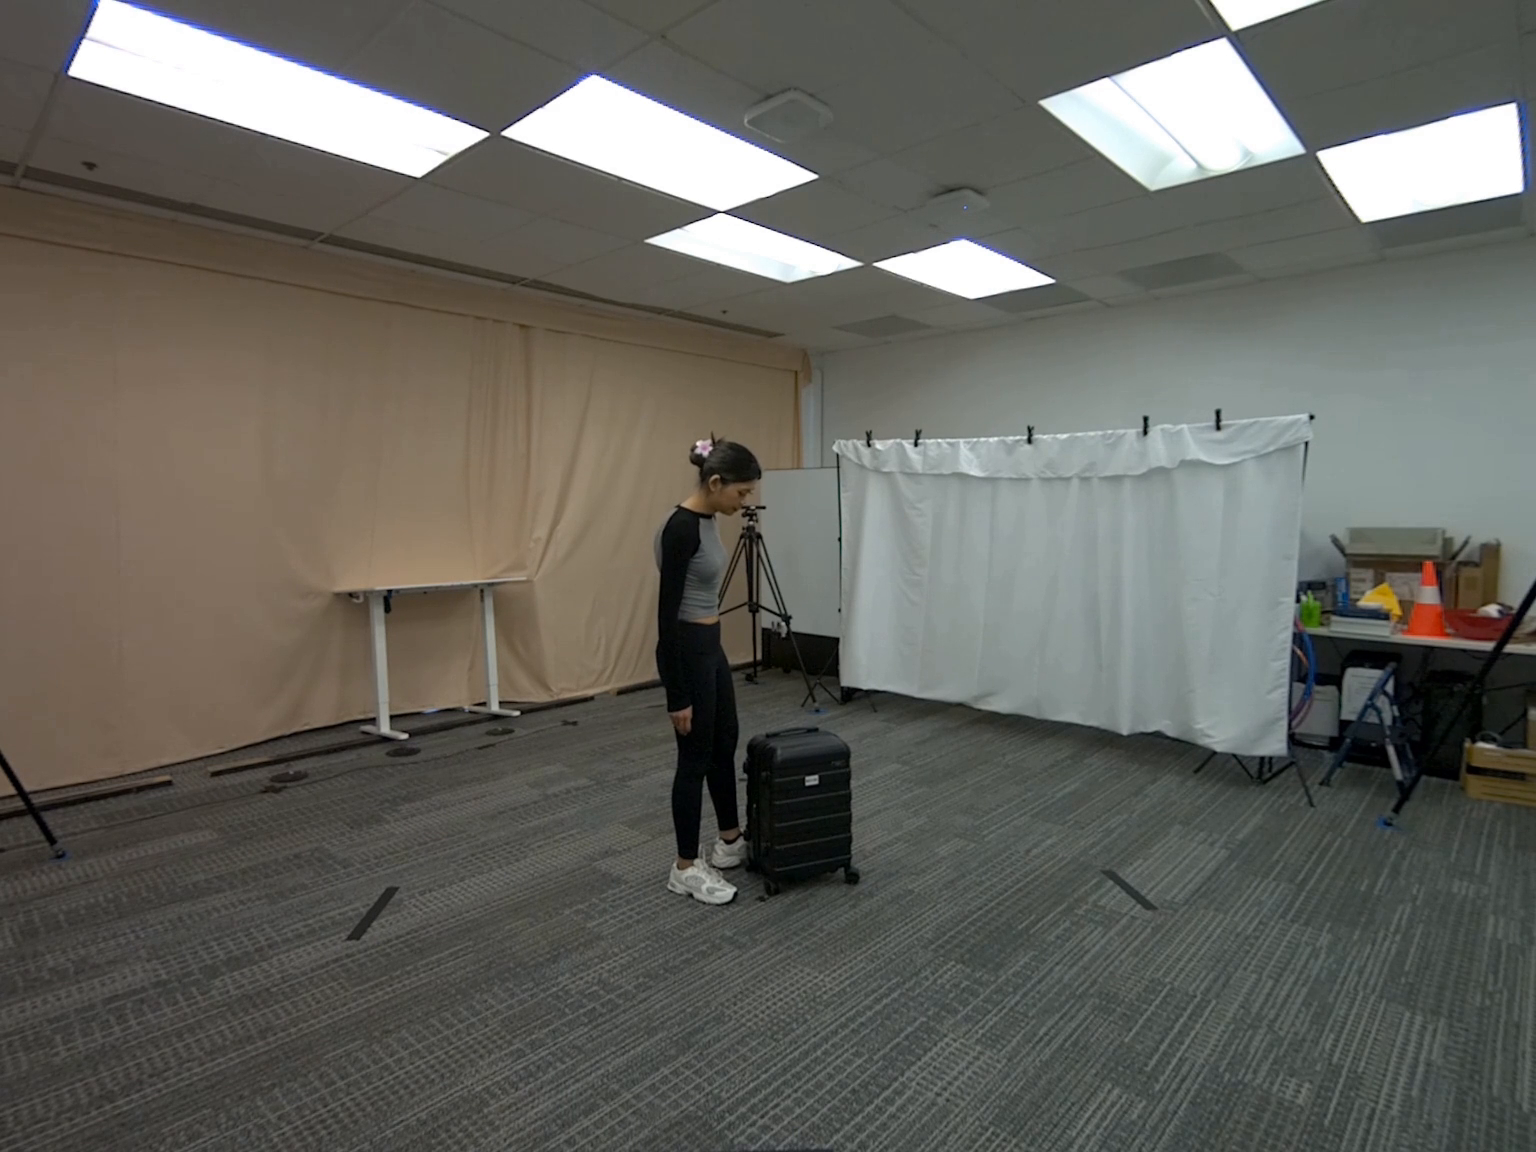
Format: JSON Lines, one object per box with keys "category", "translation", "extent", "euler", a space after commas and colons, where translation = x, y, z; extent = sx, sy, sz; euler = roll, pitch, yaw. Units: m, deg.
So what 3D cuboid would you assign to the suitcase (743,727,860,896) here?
{"category": "suitcase", "translation": [0.124, 0.850, 3.136], "extent": [0.367, 0.548, 0.254], "euler": [-2, 4, -22]}
